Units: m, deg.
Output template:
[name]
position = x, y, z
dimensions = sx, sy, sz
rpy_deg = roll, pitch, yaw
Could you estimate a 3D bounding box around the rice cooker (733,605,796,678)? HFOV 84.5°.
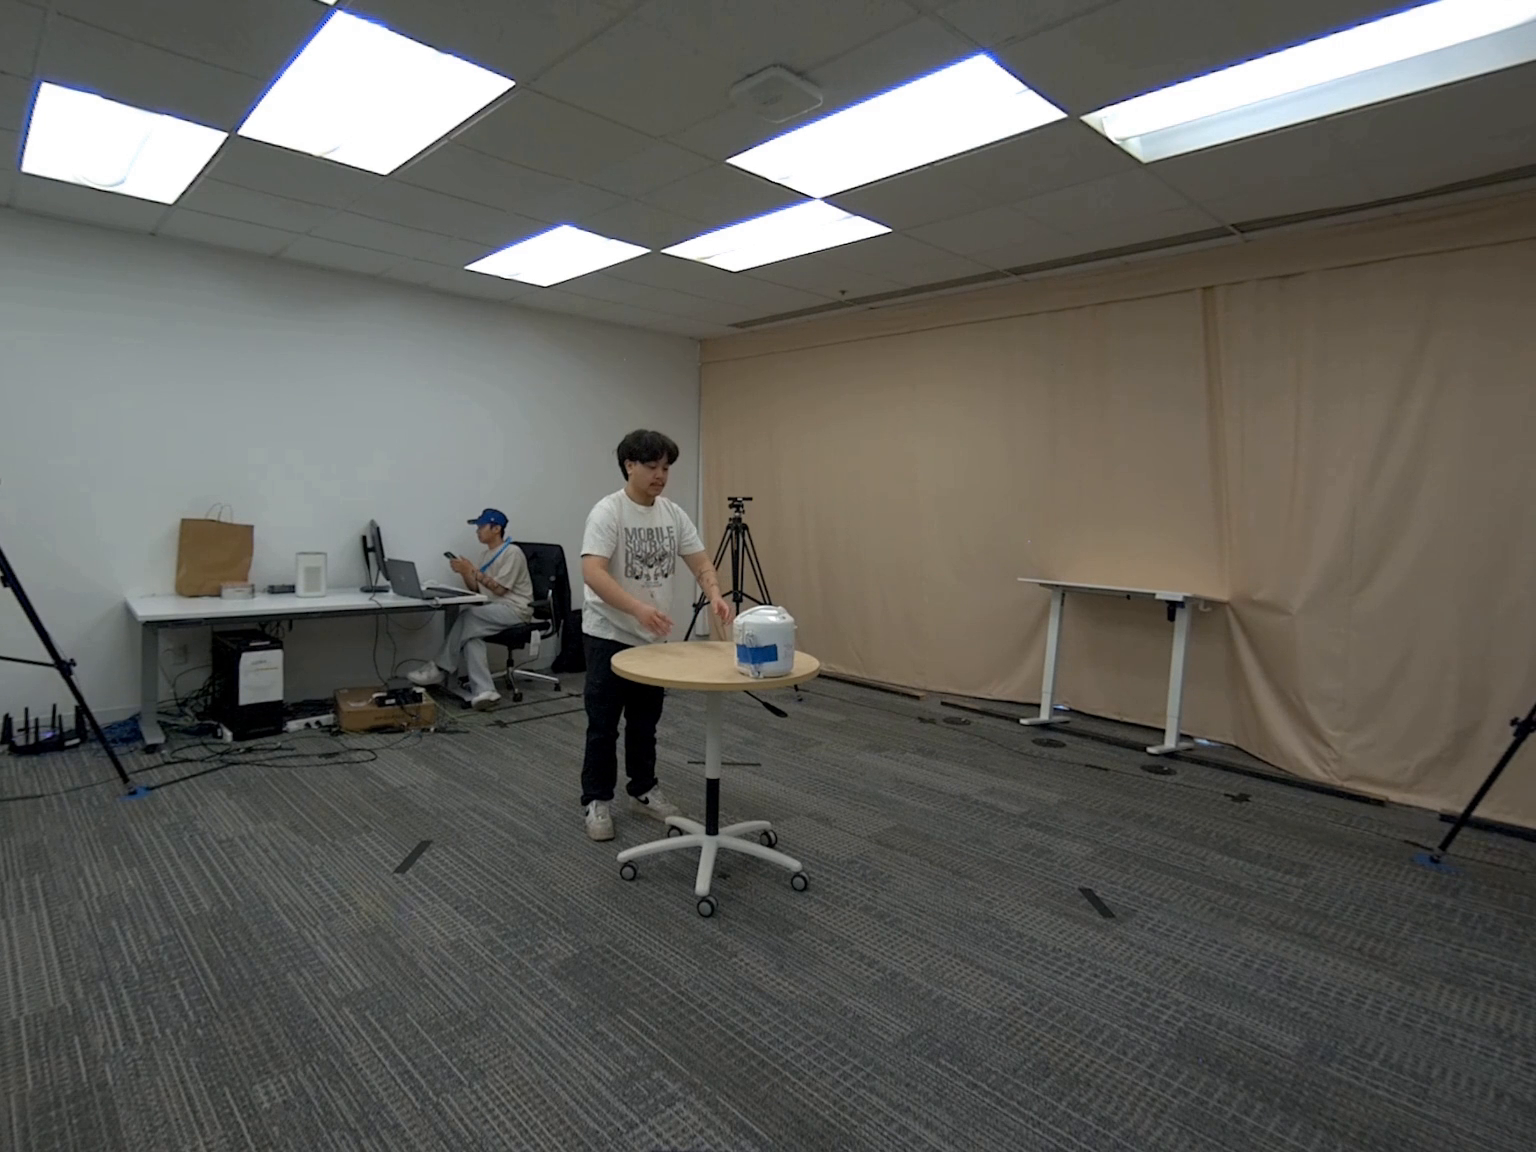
[rice cooker]
position = -0.021, 0.218, 2.889
dimensions = 0.217, 0.232, 0.222
rpy_deg = 0, 6, -25
